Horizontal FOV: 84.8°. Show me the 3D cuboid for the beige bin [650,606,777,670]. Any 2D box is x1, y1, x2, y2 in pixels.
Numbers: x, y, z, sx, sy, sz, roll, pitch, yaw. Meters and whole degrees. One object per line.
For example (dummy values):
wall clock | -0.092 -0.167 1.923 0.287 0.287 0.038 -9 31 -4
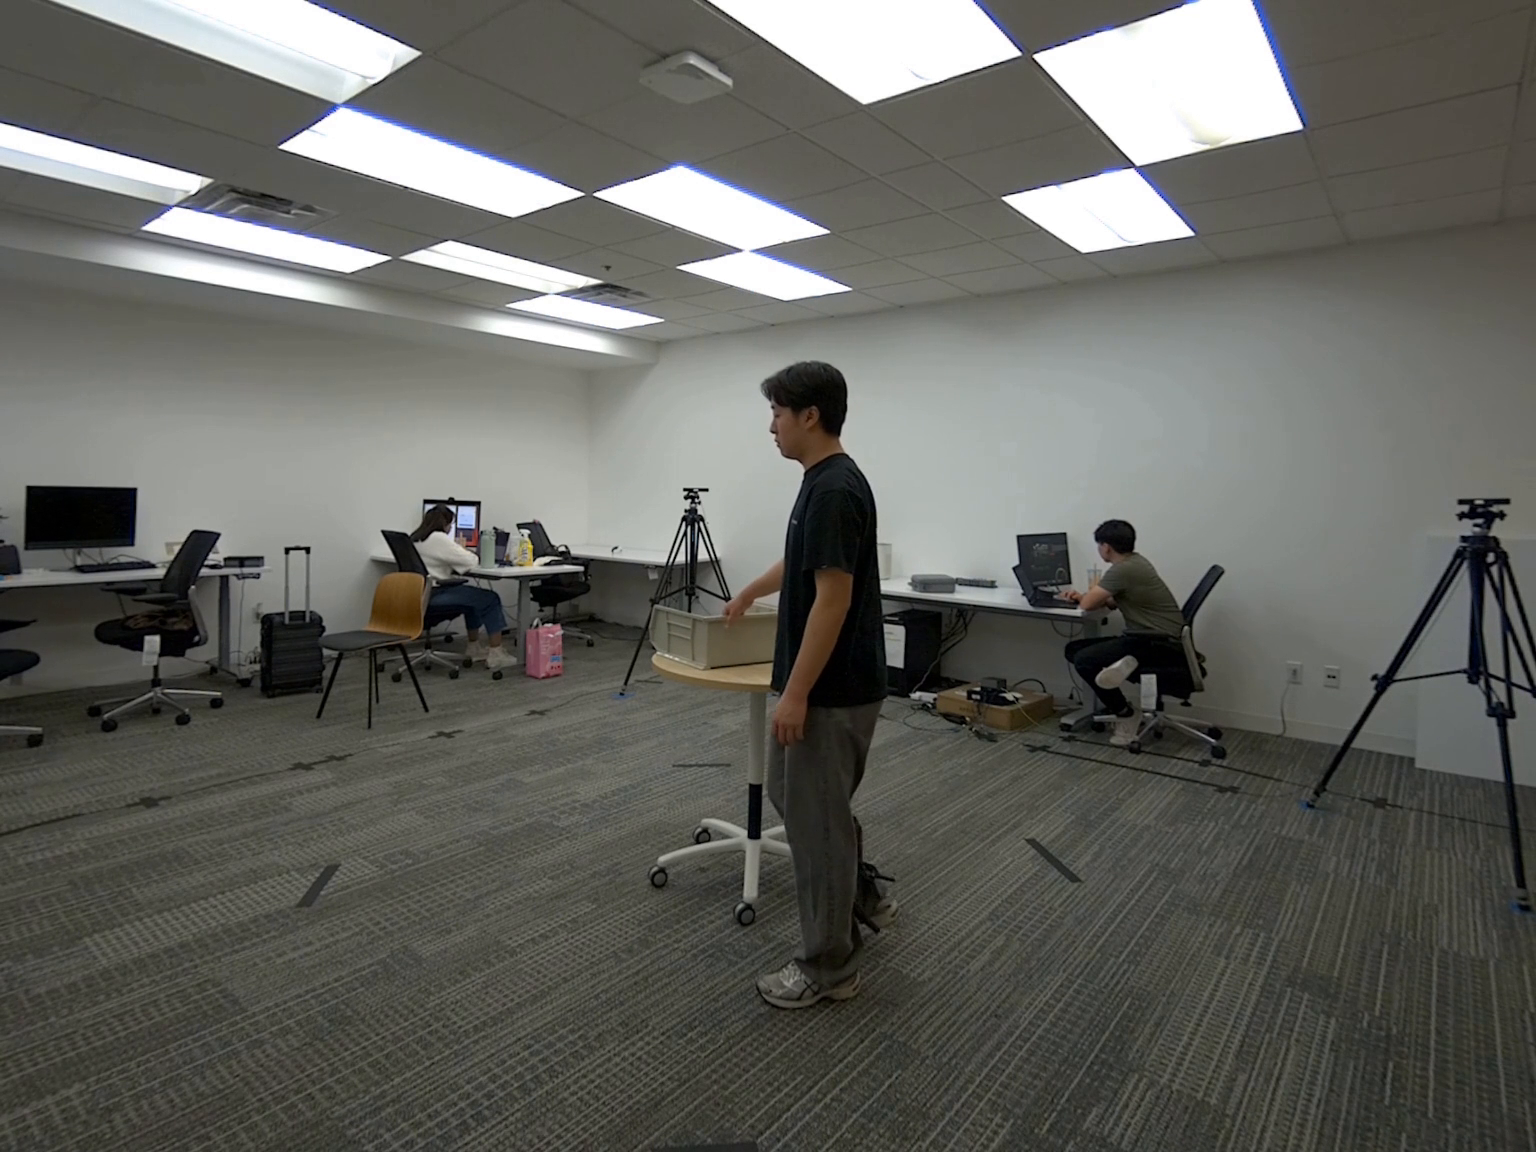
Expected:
beige bin | -0.172 0.201 3.080 0.410 0.188 0.390 -1 7 -36
